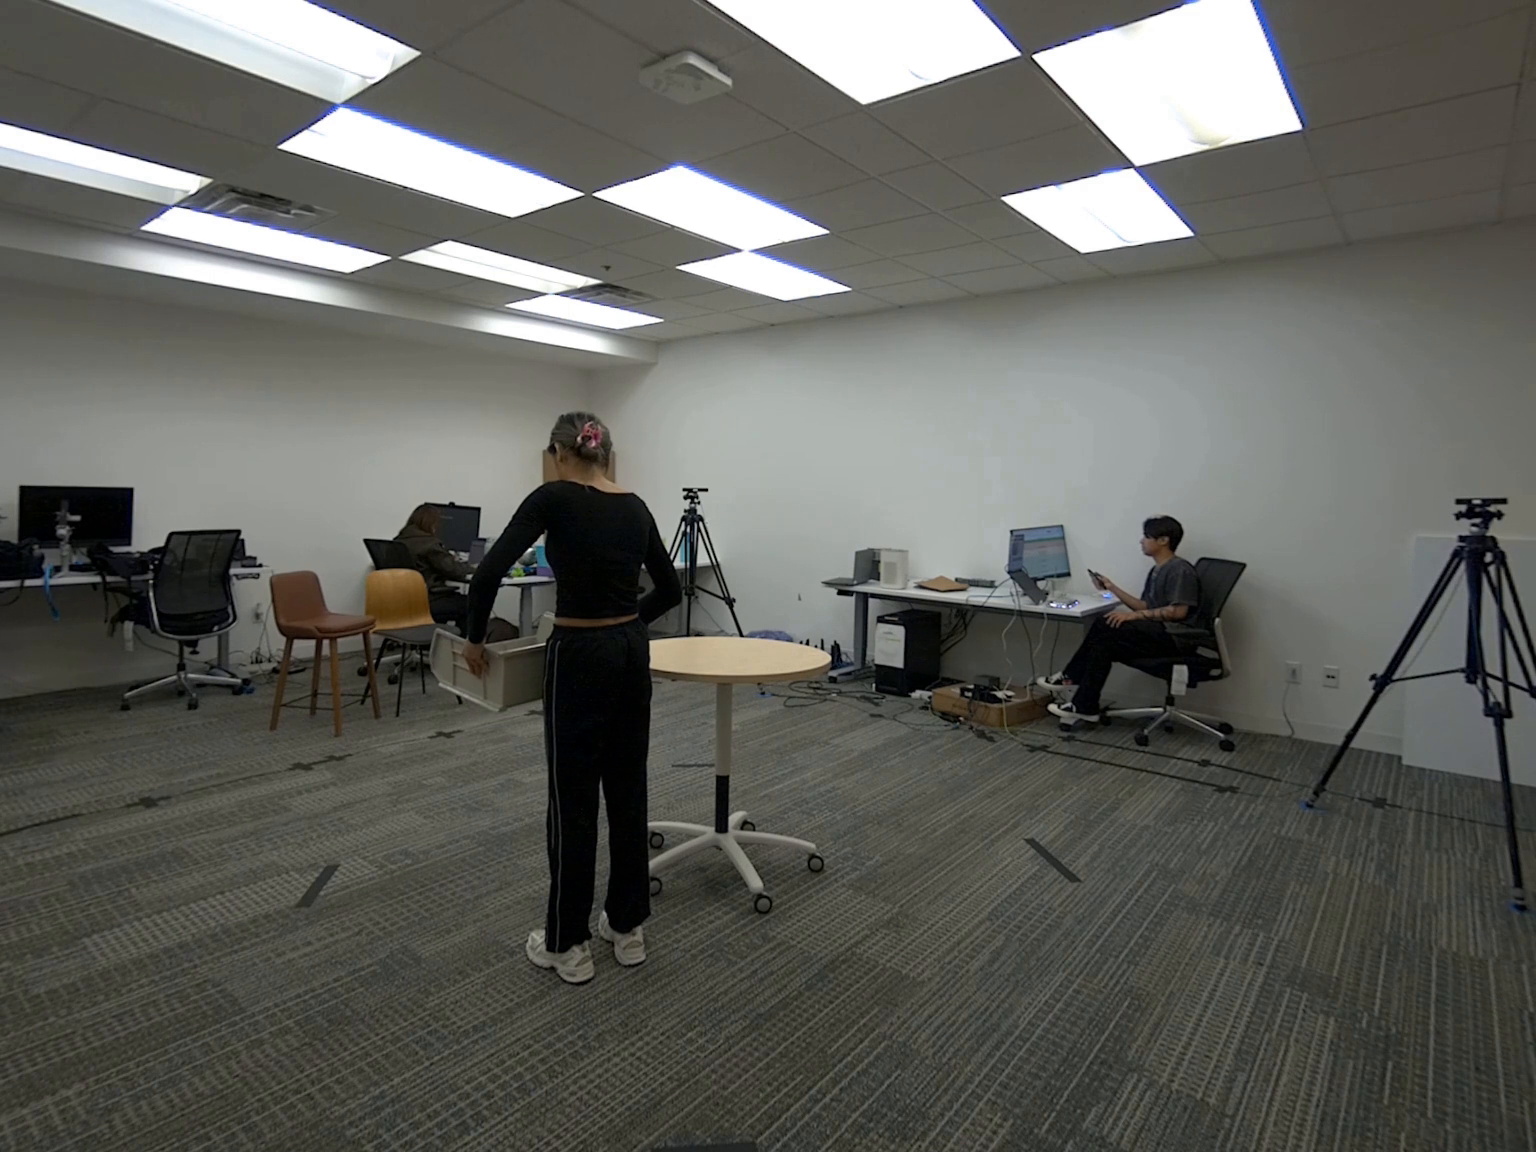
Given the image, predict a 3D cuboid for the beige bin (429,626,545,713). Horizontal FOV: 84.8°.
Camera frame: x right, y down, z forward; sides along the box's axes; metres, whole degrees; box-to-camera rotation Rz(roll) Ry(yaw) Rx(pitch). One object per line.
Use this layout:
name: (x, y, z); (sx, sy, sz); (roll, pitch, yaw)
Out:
beige bin: (-0.785, 0.250, 2.664); (0.391, 0.187, 0.410); (13, 12, 38)
